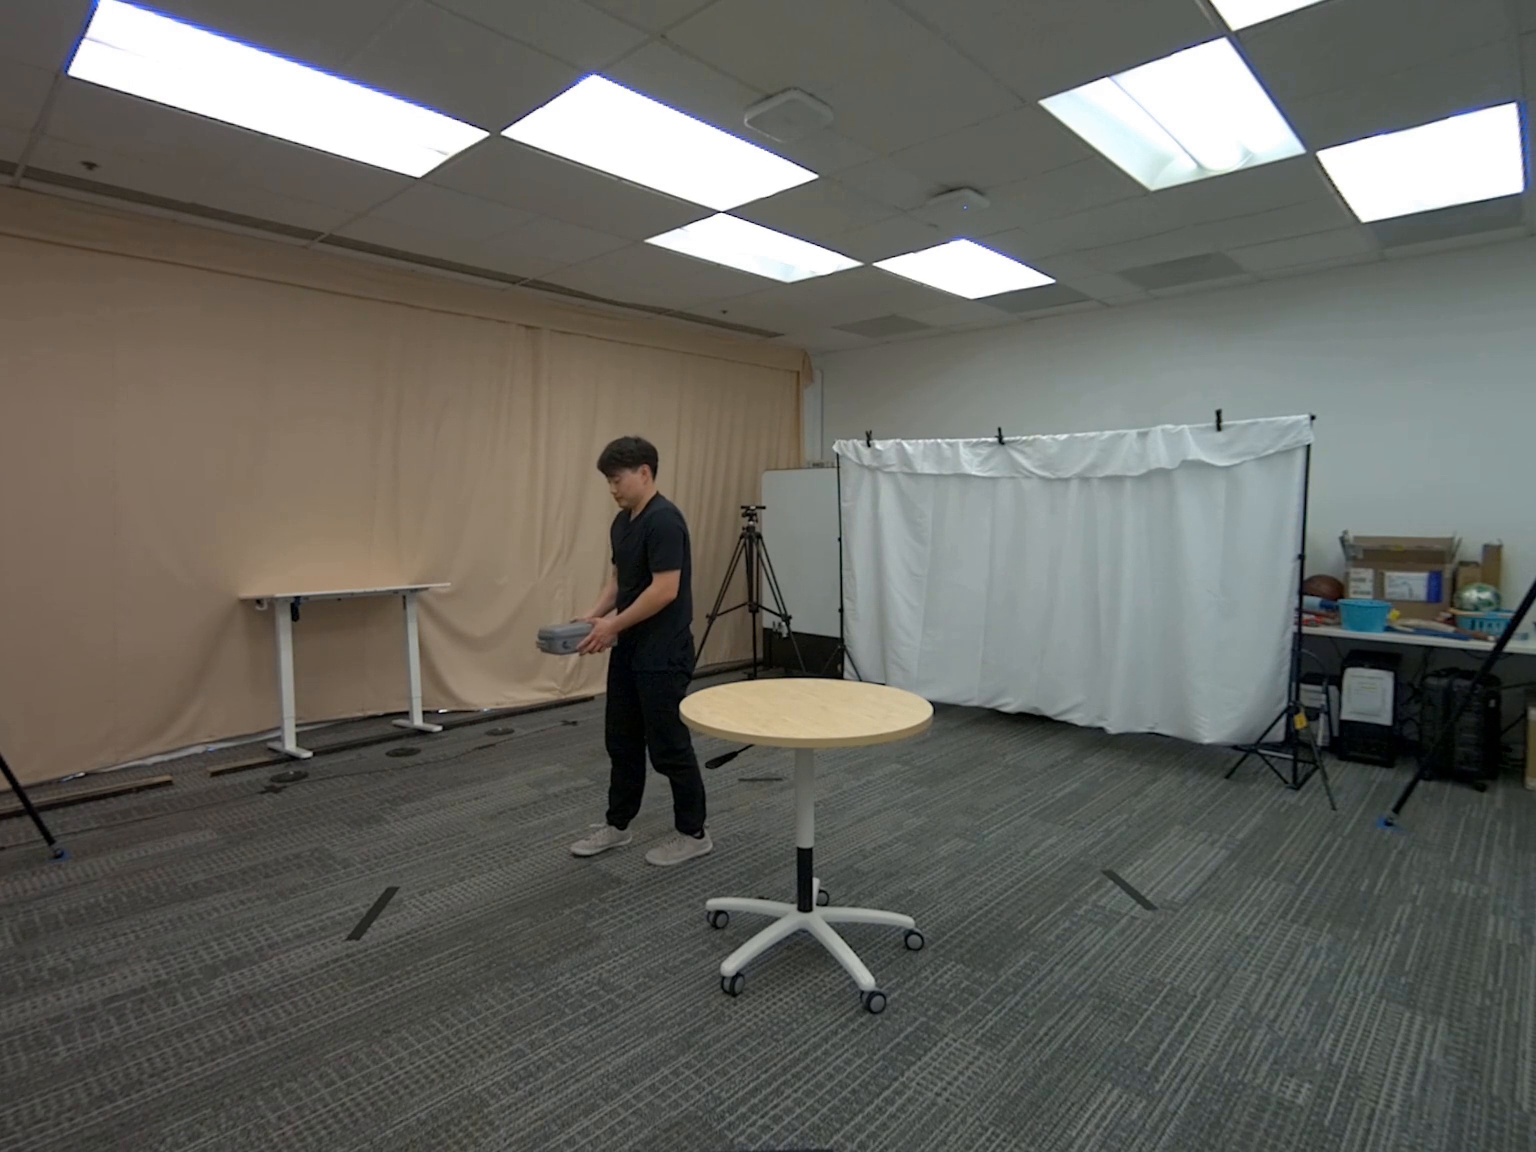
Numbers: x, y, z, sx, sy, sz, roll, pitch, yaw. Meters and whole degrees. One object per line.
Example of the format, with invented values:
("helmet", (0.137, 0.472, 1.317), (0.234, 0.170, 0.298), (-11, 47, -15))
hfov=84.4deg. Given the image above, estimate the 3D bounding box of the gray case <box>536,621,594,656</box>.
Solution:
("gray case", (-0.742, 0.234, 3.236), (0.254, 0.104, 0.264), (-7, 4, -31))
